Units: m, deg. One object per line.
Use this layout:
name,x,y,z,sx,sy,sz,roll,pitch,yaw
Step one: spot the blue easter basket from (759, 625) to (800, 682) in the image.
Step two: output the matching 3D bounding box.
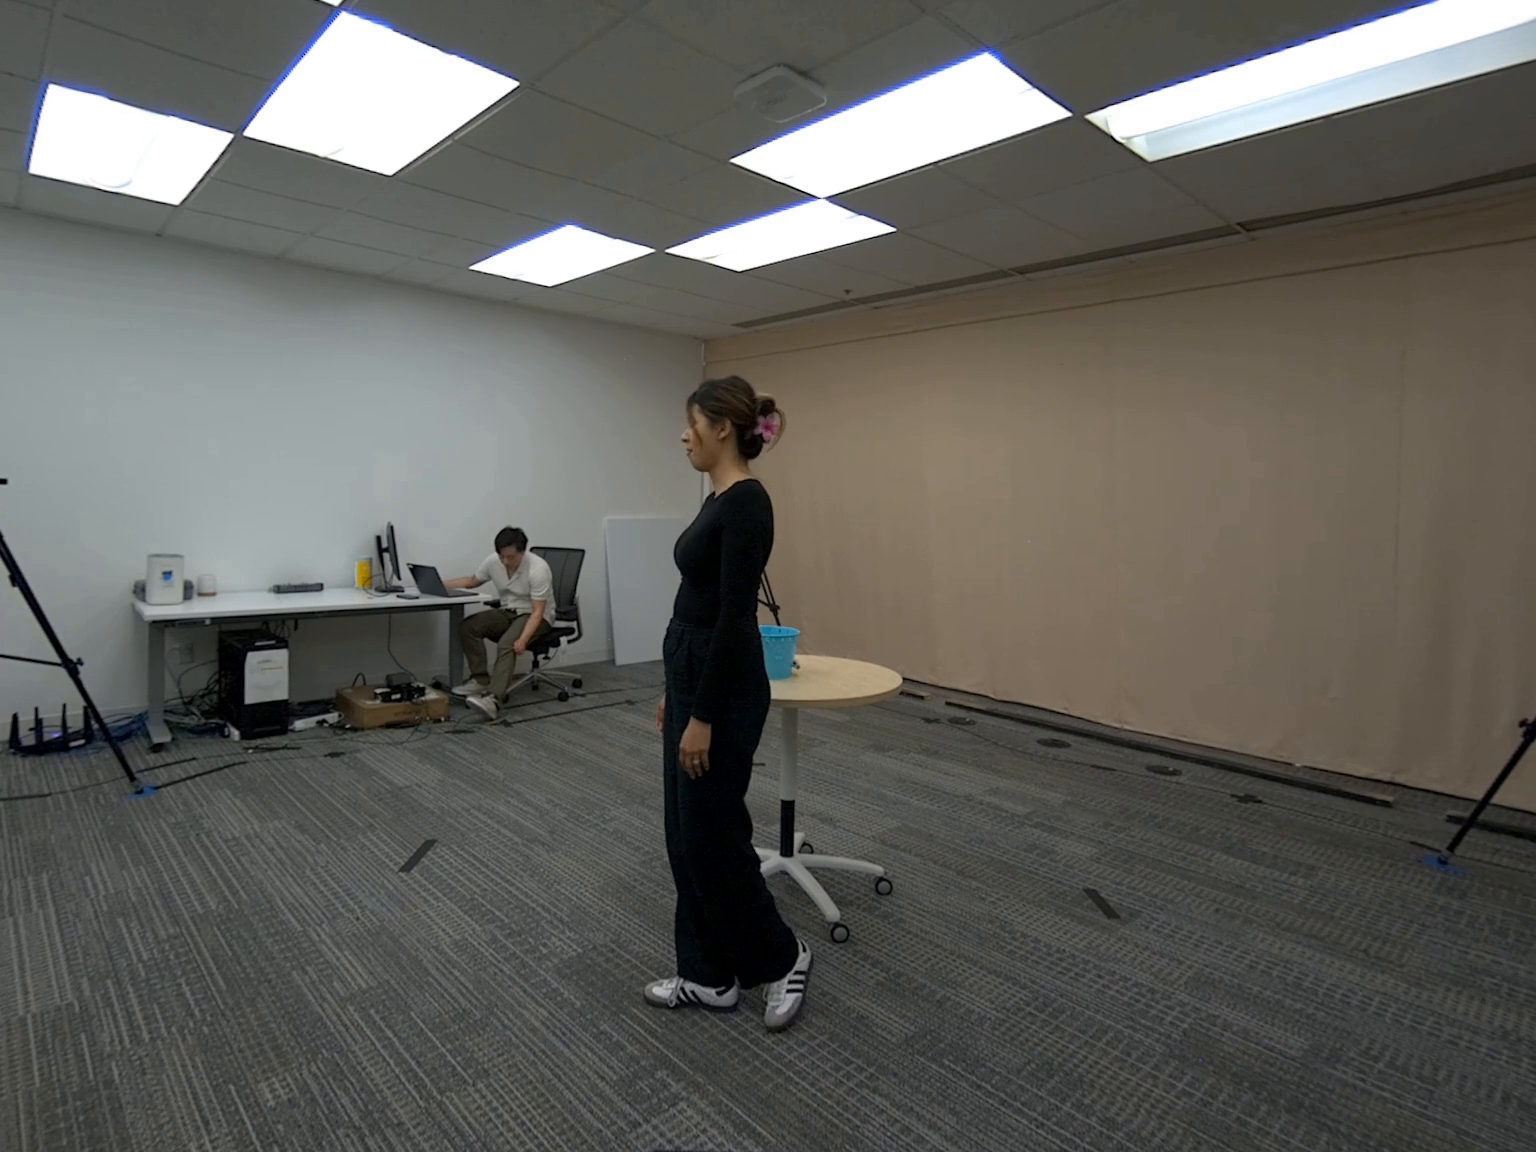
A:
blue easter basket,-0.005,0.271,2.913,0.243,0.155,0.244,1,4,-1
